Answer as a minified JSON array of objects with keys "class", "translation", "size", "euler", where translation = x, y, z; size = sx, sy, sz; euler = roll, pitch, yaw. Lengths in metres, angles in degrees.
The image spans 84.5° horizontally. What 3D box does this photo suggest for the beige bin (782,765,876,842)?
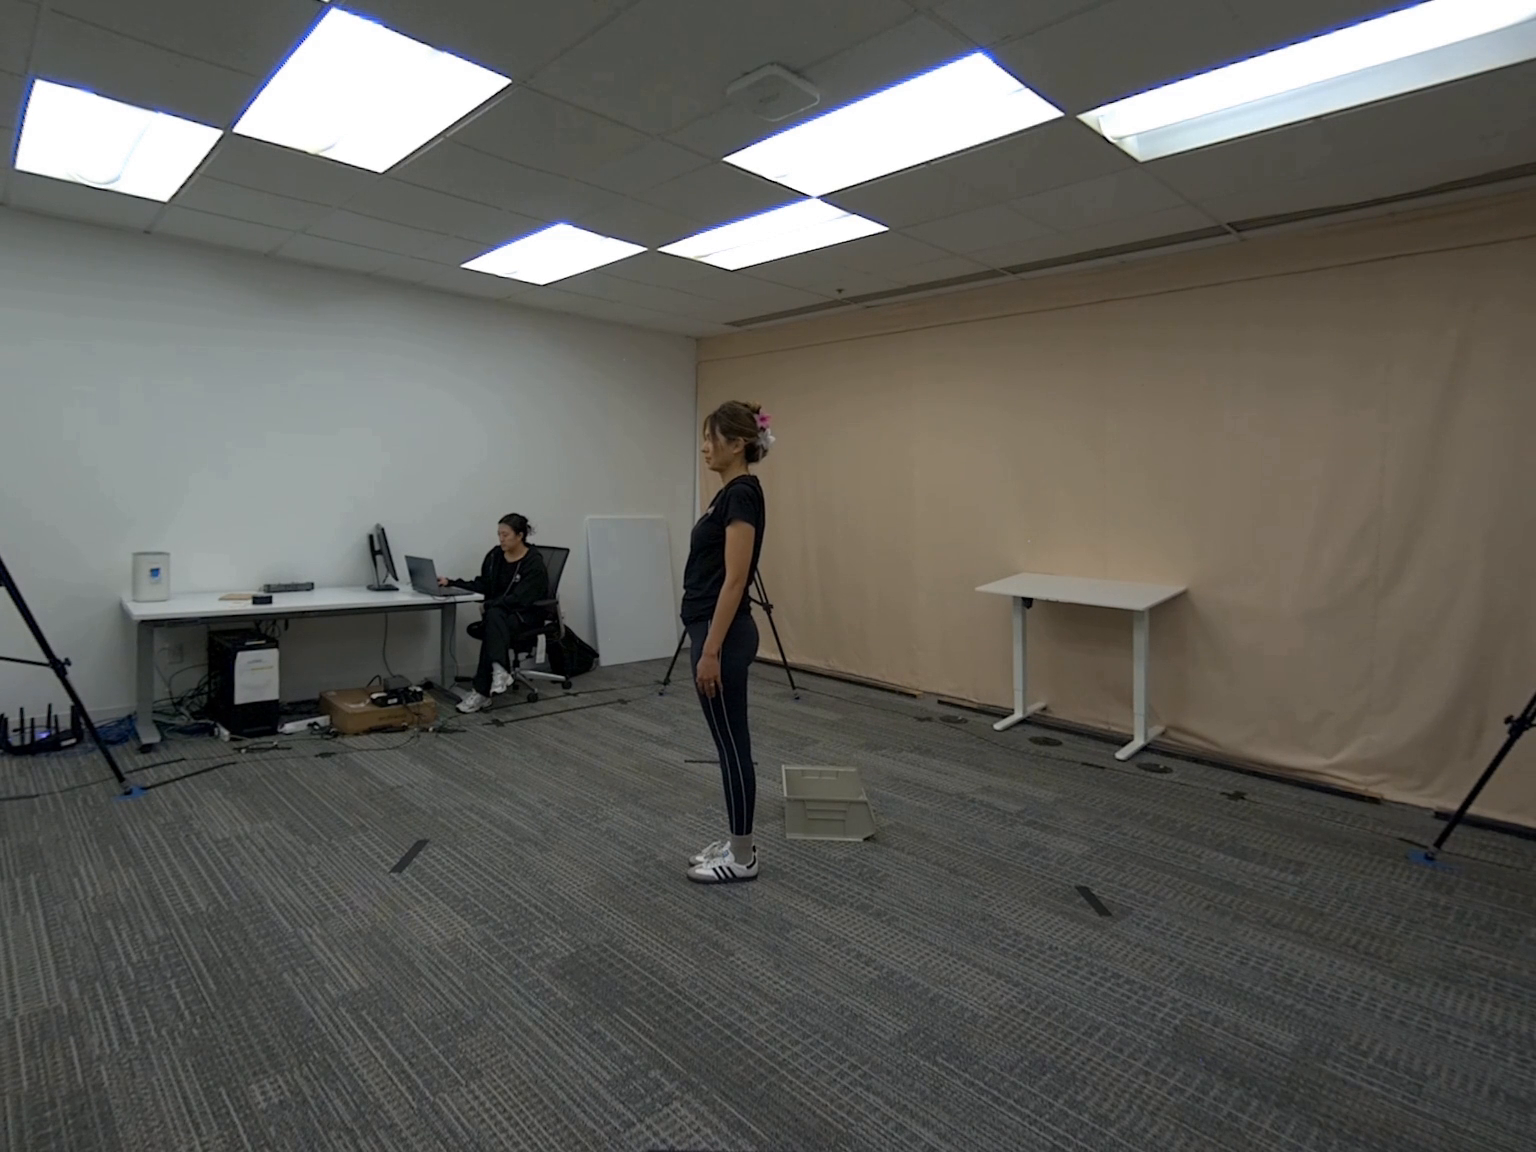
[{"class":"beige bin","translation":[0.246,0.978,3.648],"size":[0.378,0.188,0.423],"euler":[1,5,0]}]
